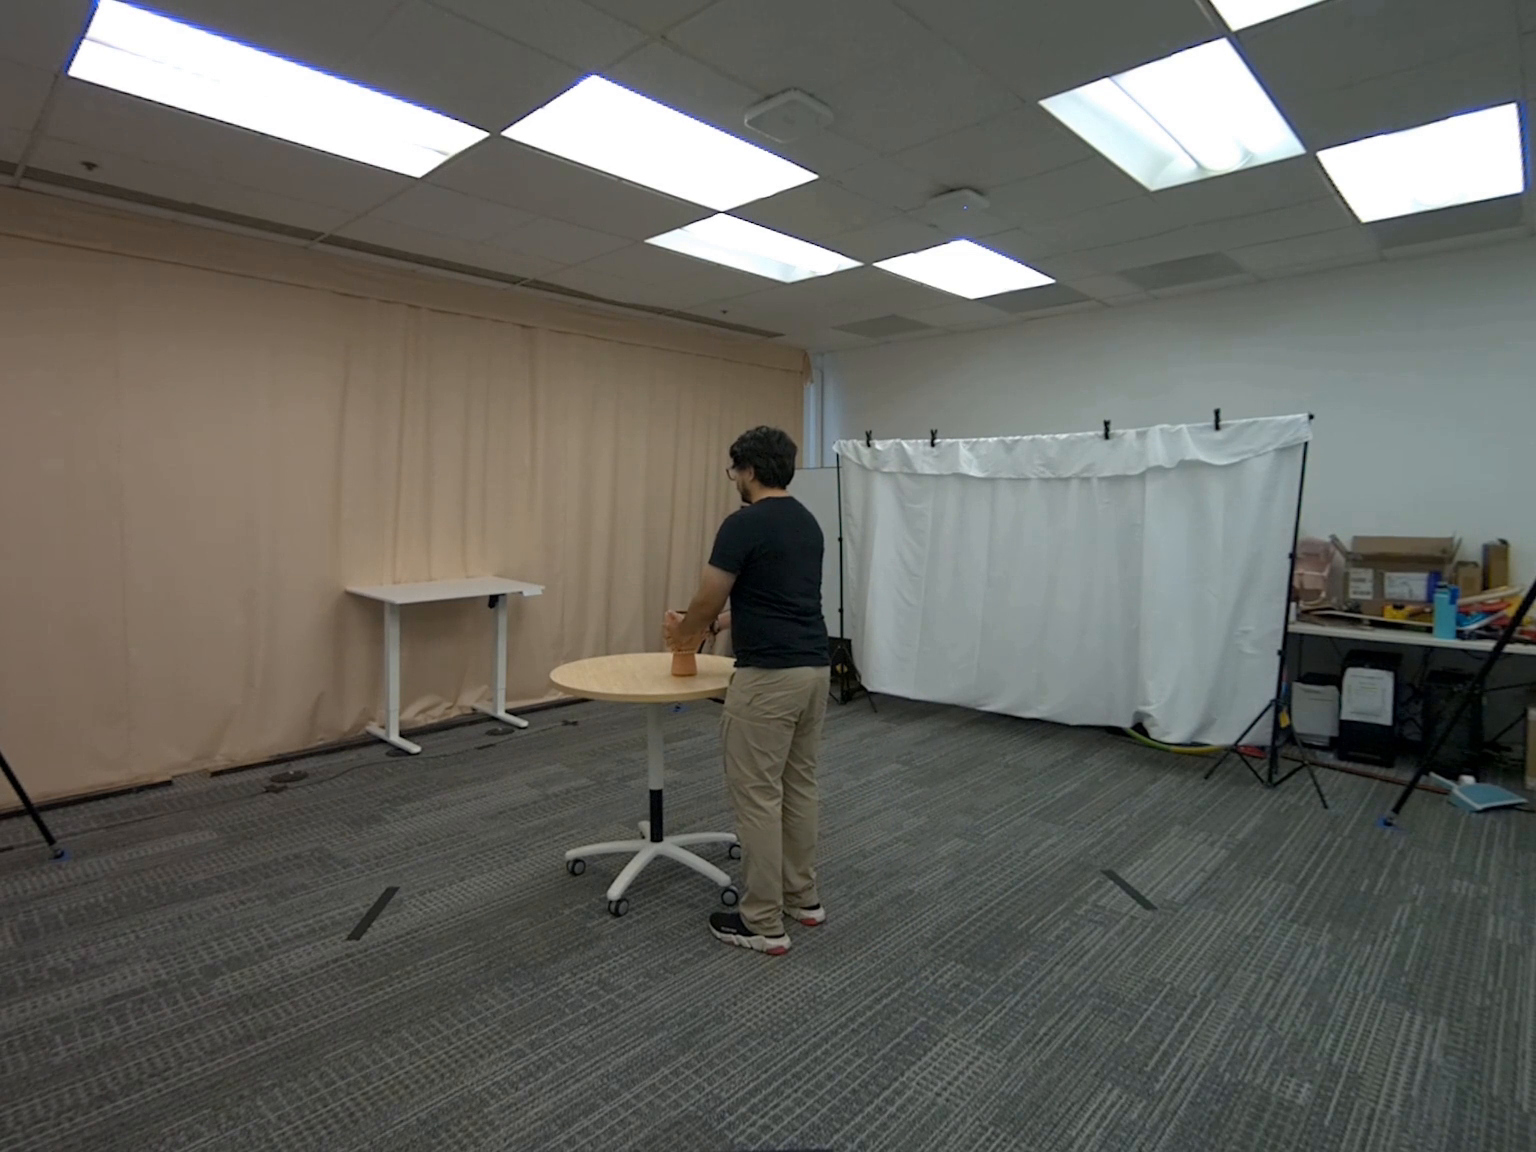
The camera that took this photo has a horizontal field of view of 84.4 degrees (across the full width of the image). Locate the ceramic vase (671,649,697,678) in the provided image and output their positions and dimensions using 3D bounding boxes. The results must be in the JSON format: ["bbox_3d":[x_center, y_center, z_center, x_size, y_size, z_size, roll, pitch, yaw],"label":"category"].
[{"bbox_3d":[-0.308,0.243,3.062,0.137,0.219,0.156,1,4,20],"label":"ceramic vase"}]
